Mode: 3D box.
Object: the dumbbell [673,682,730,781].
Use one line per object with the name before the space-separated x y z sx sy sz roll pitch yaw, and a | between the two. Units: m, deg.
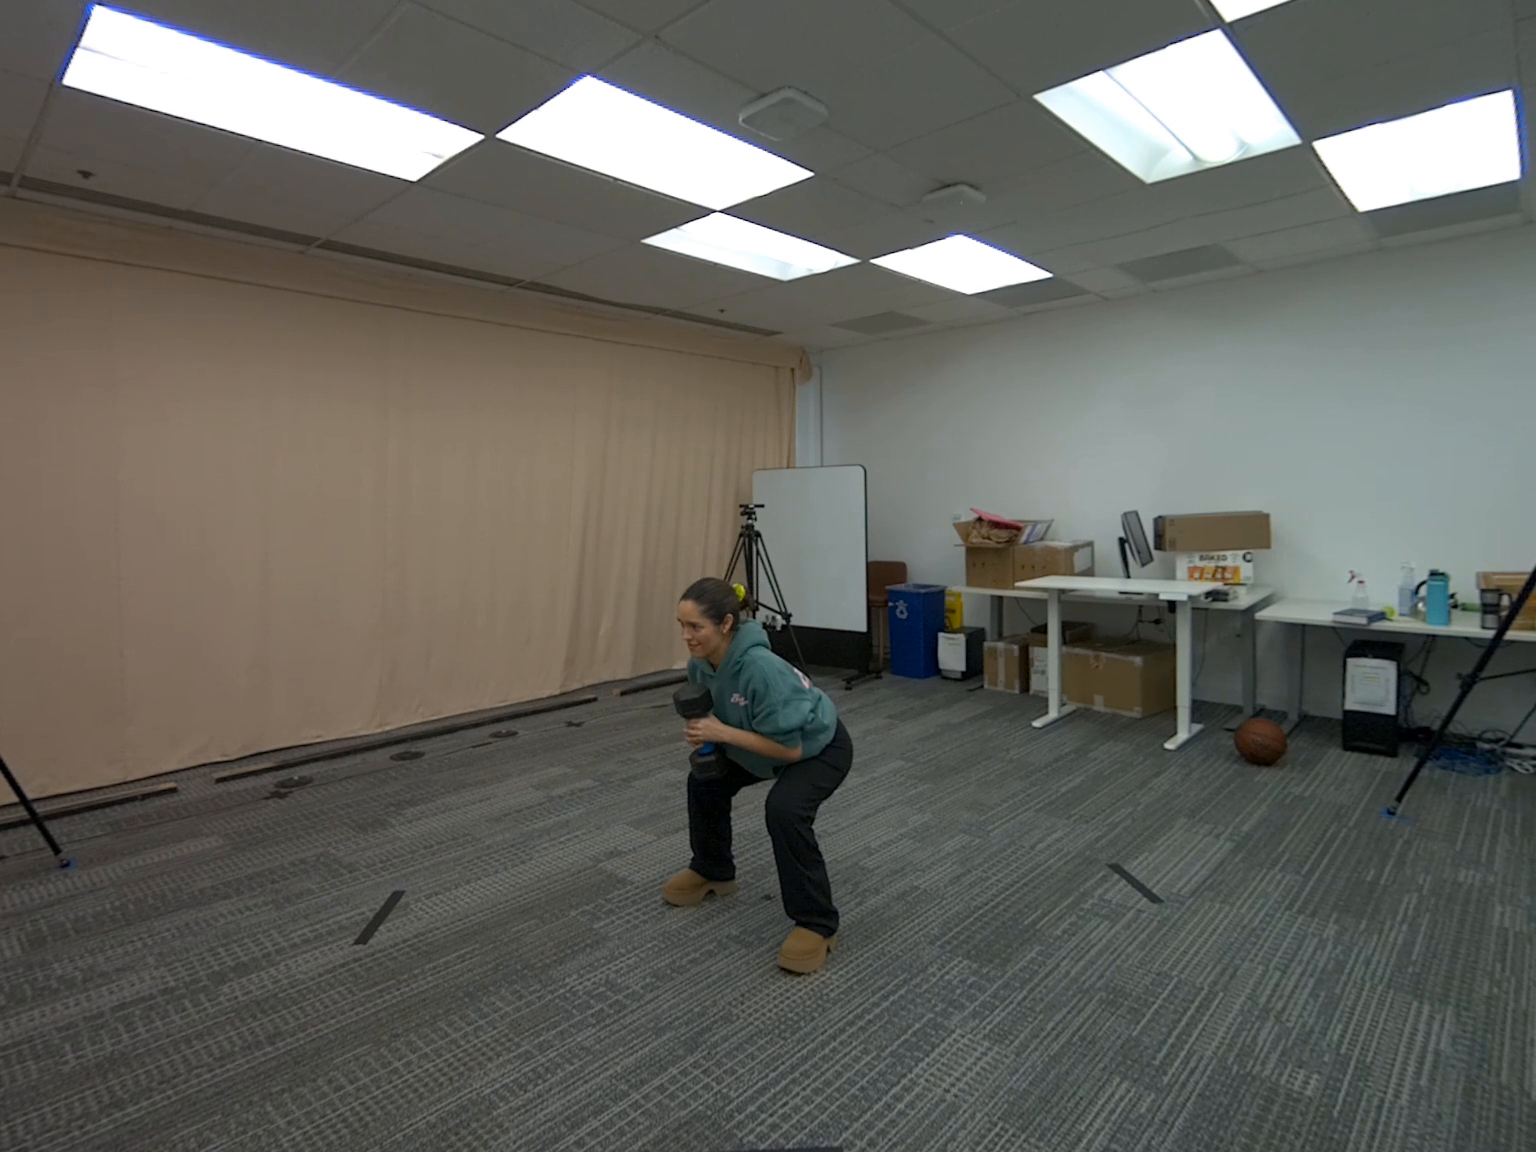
dumbbell | -0.205 0.466 2.662 0.123 0.291 0.109 -11 9 4
